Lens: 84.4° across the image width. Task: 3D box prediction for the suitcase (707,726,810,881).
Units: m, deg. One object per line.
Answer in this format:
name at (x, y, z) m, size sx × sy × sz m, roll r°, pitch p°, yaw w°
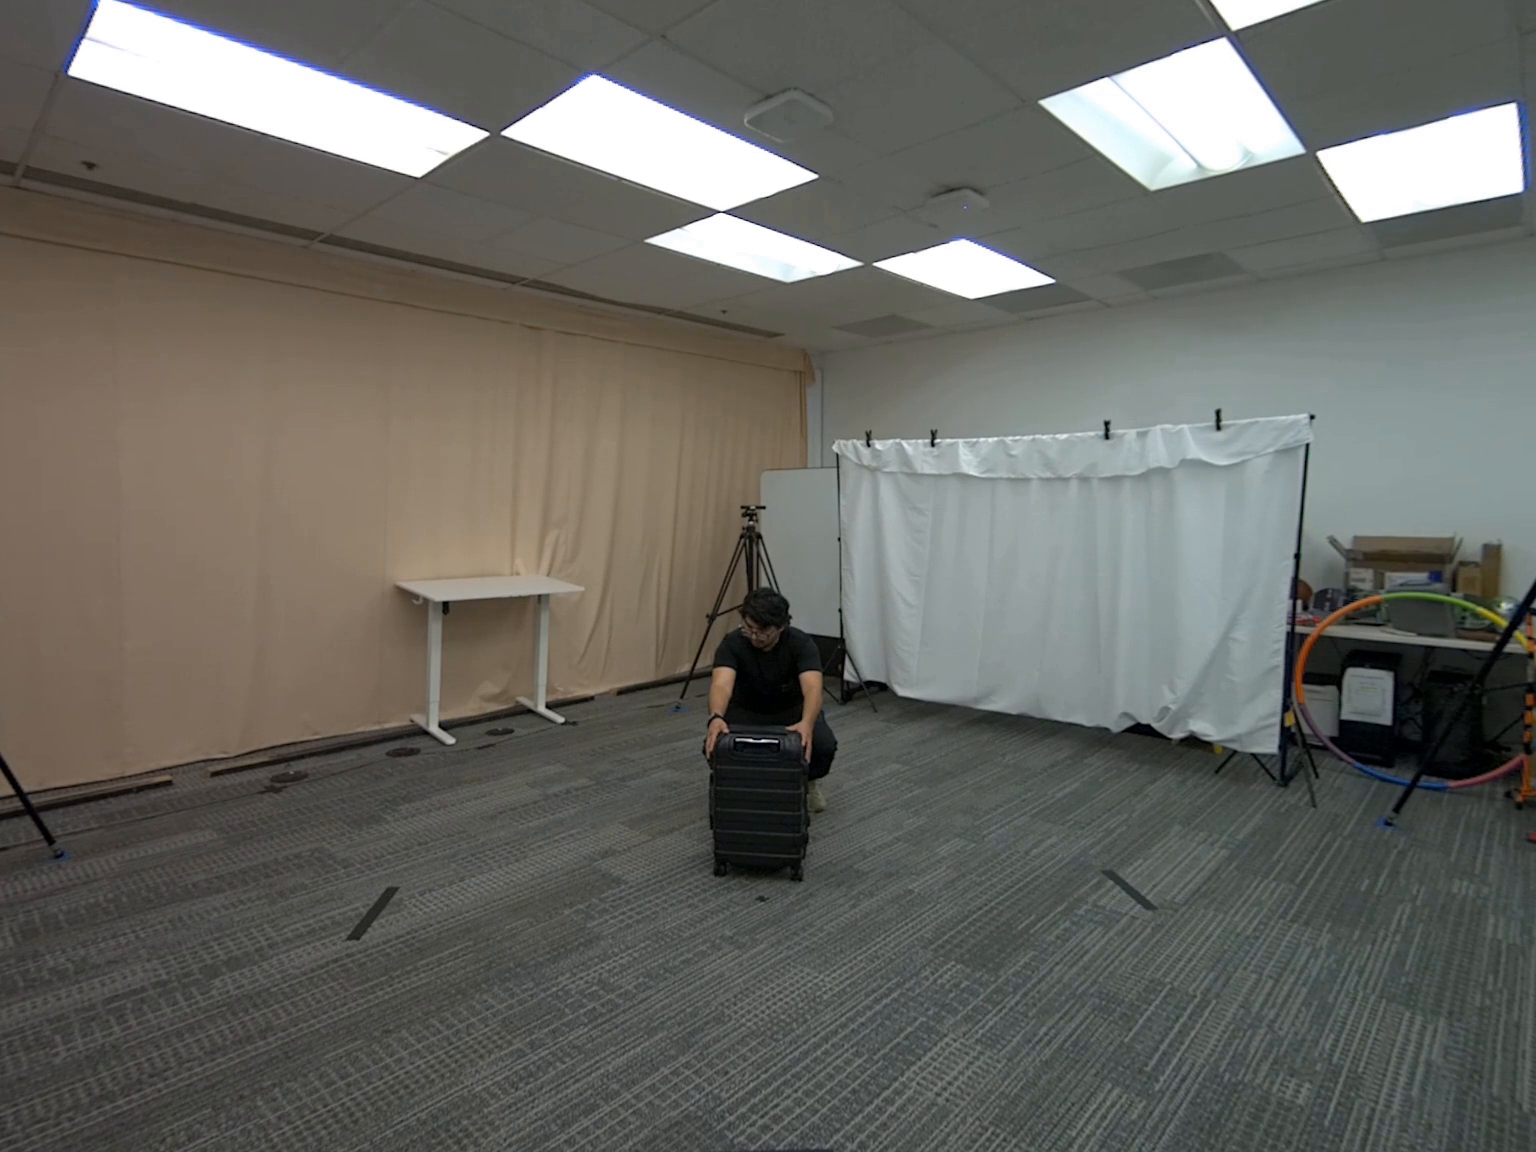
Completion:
suitcase at (-0.032, 0.843, 3.228) m, size 0.379 × 0.547 × 0.247 m, roll 0°, pitch 6°, yaw 7°
